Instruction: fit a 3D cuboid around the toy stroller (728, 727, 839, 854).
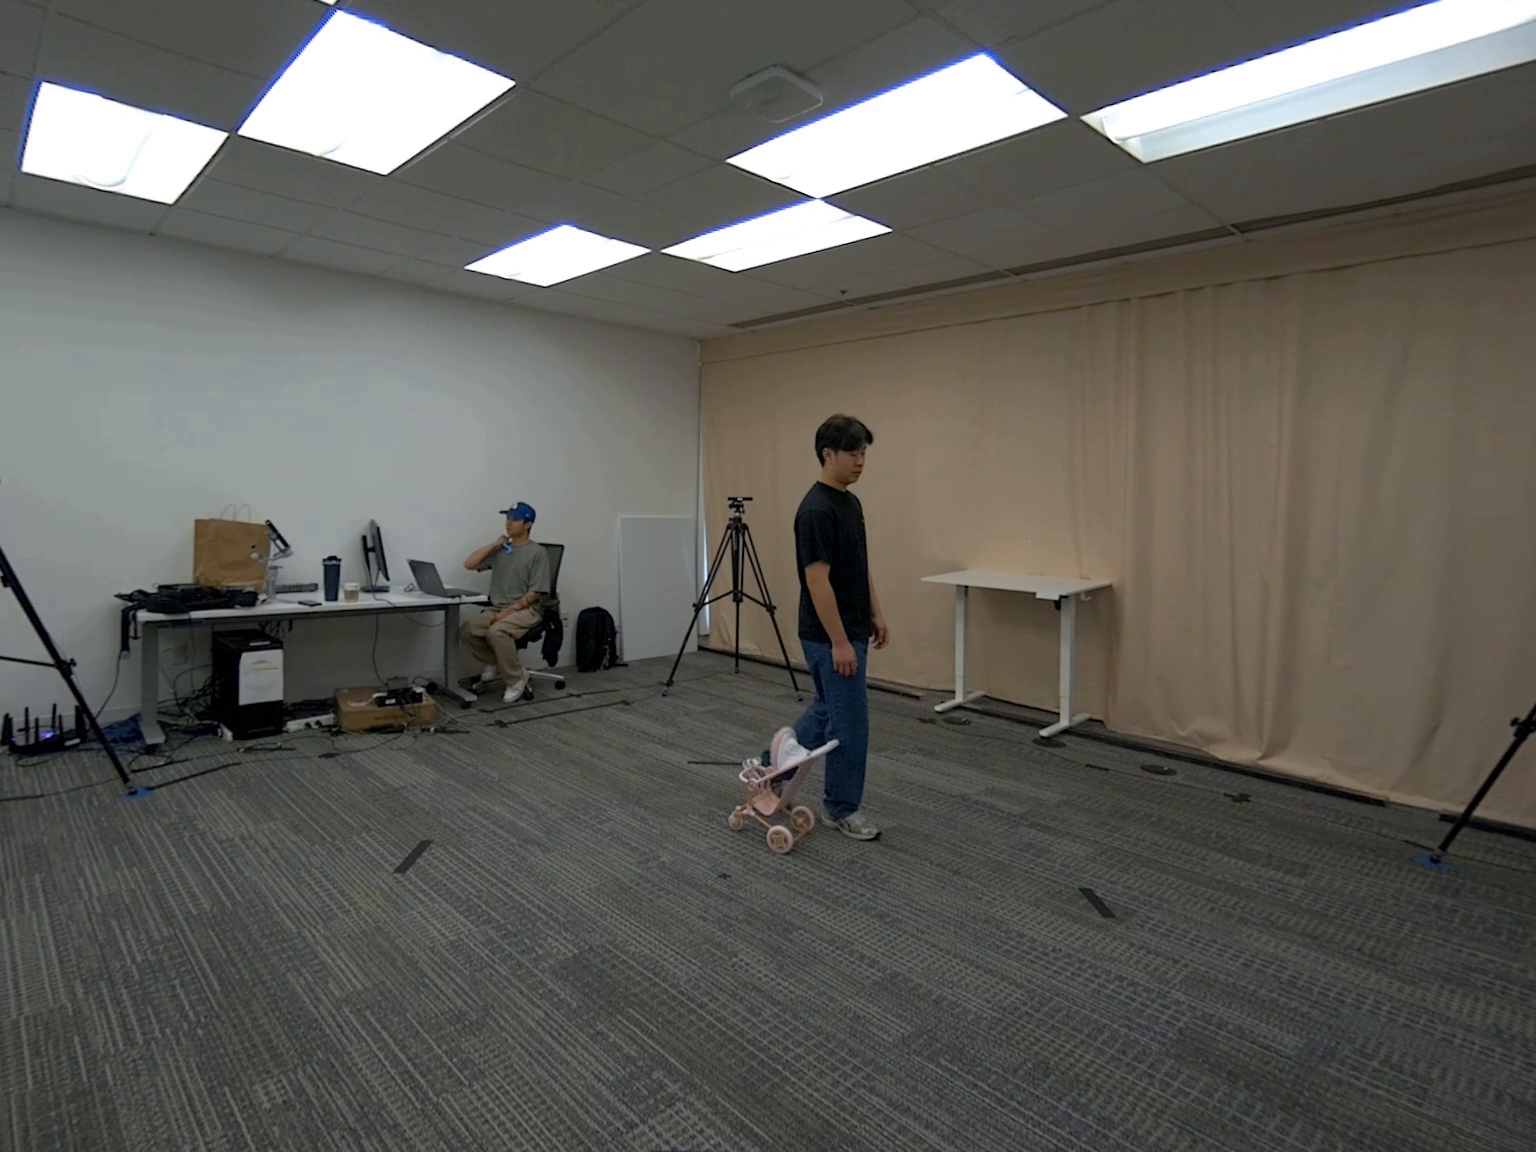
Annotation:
[{"bbox_3d":[0.037,0.858,3.452,0.350,0.532,0.276,22,12,28],"label":"toy stroller"}]
